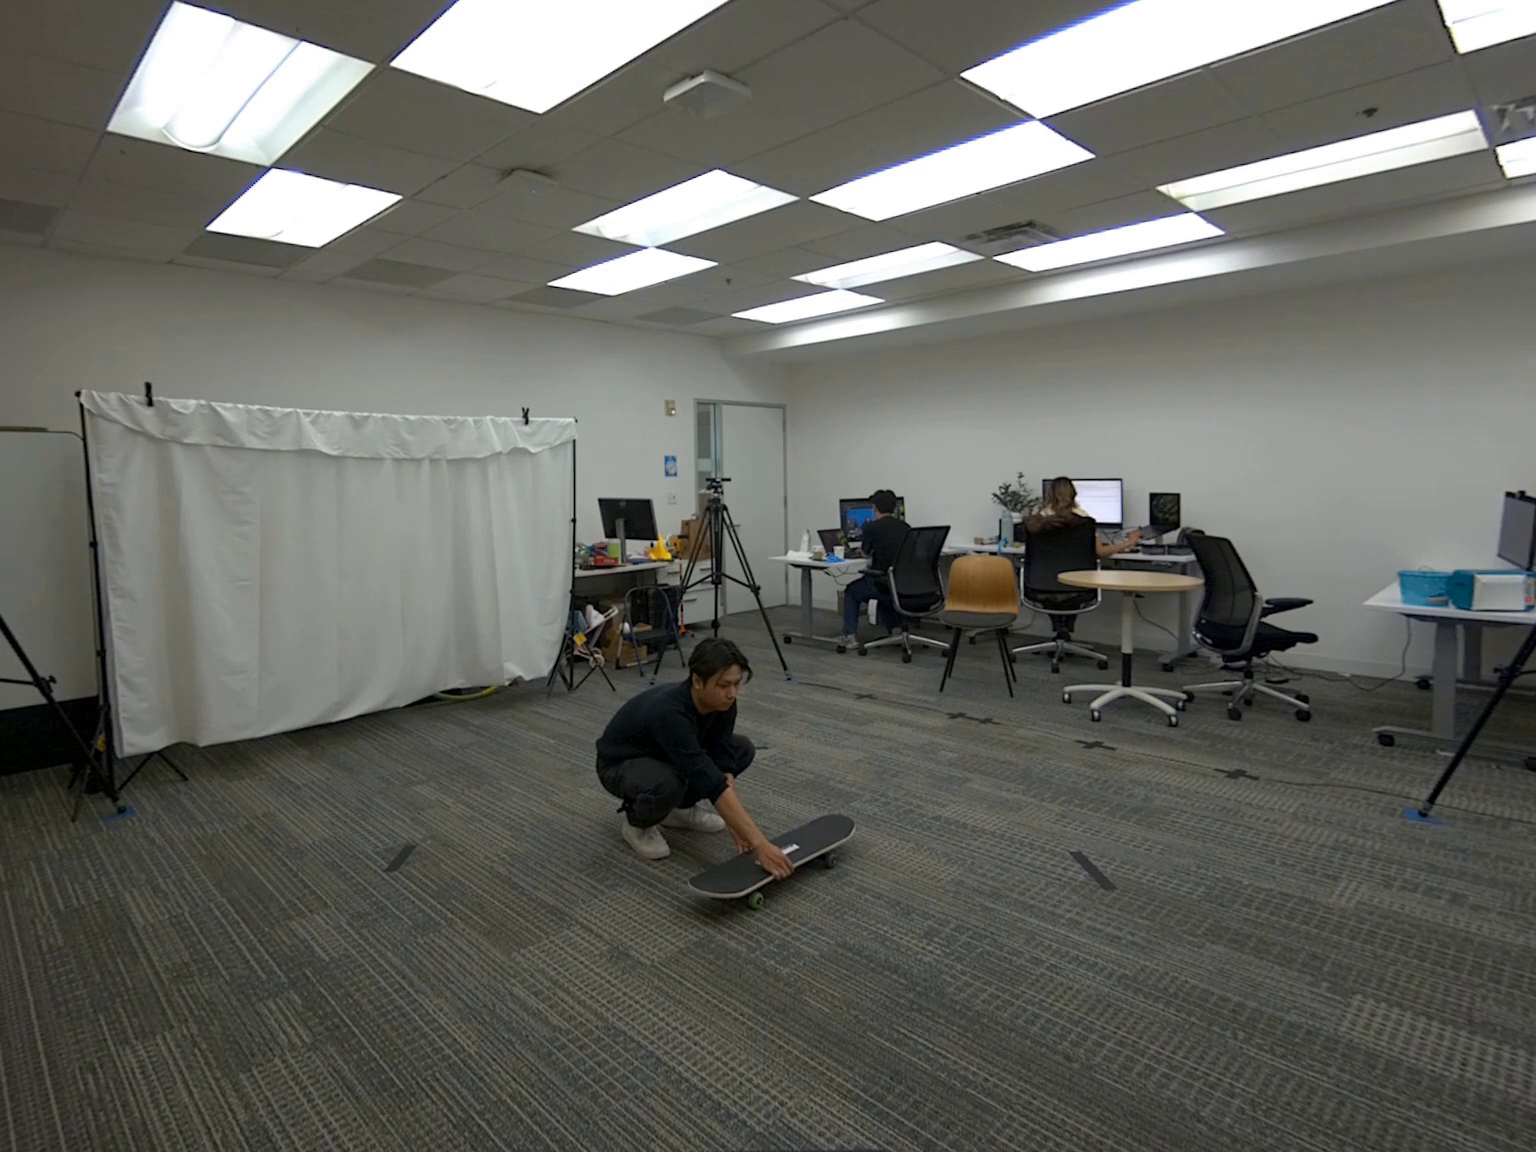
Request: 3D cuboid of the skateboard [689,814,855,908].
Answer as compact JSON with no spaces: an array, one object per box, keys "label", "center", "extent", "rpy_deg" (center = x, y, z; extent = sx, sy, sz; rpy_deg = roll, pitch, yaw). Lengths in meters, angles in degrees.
[{"label":"skateboard","center":[0.034,0.993,2.972],"extent":[0.199,0.110,0.765],"rpy_deg":[4,8,43]}]
